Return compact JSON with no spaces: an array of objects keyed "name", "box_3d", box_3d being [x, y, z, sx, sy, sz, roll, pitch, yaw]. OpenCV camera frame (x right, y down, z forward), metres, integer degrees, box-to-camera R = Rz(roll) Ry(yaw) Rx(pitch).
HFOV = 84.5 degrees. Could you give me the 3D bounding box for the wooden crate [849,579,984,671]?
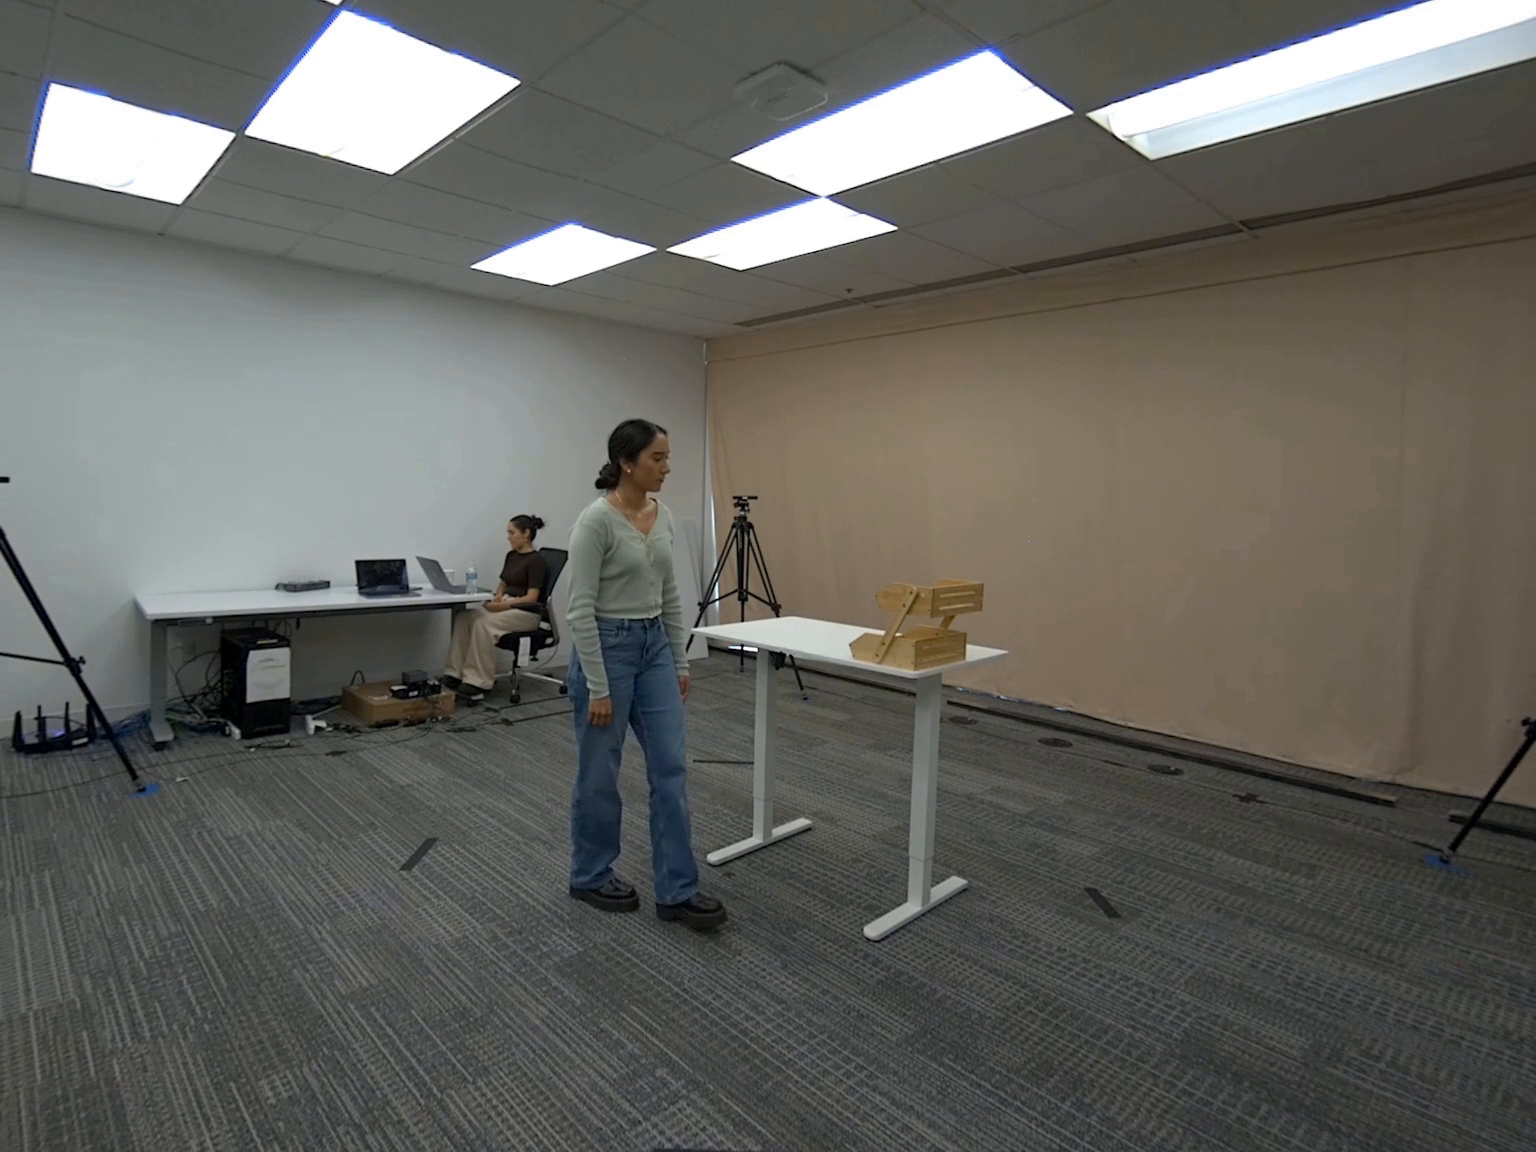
[{"name":"wooden crate","box_3d":[0.470,0.139,2.713,0.310,0.272,0.317,7,7,44]}]
